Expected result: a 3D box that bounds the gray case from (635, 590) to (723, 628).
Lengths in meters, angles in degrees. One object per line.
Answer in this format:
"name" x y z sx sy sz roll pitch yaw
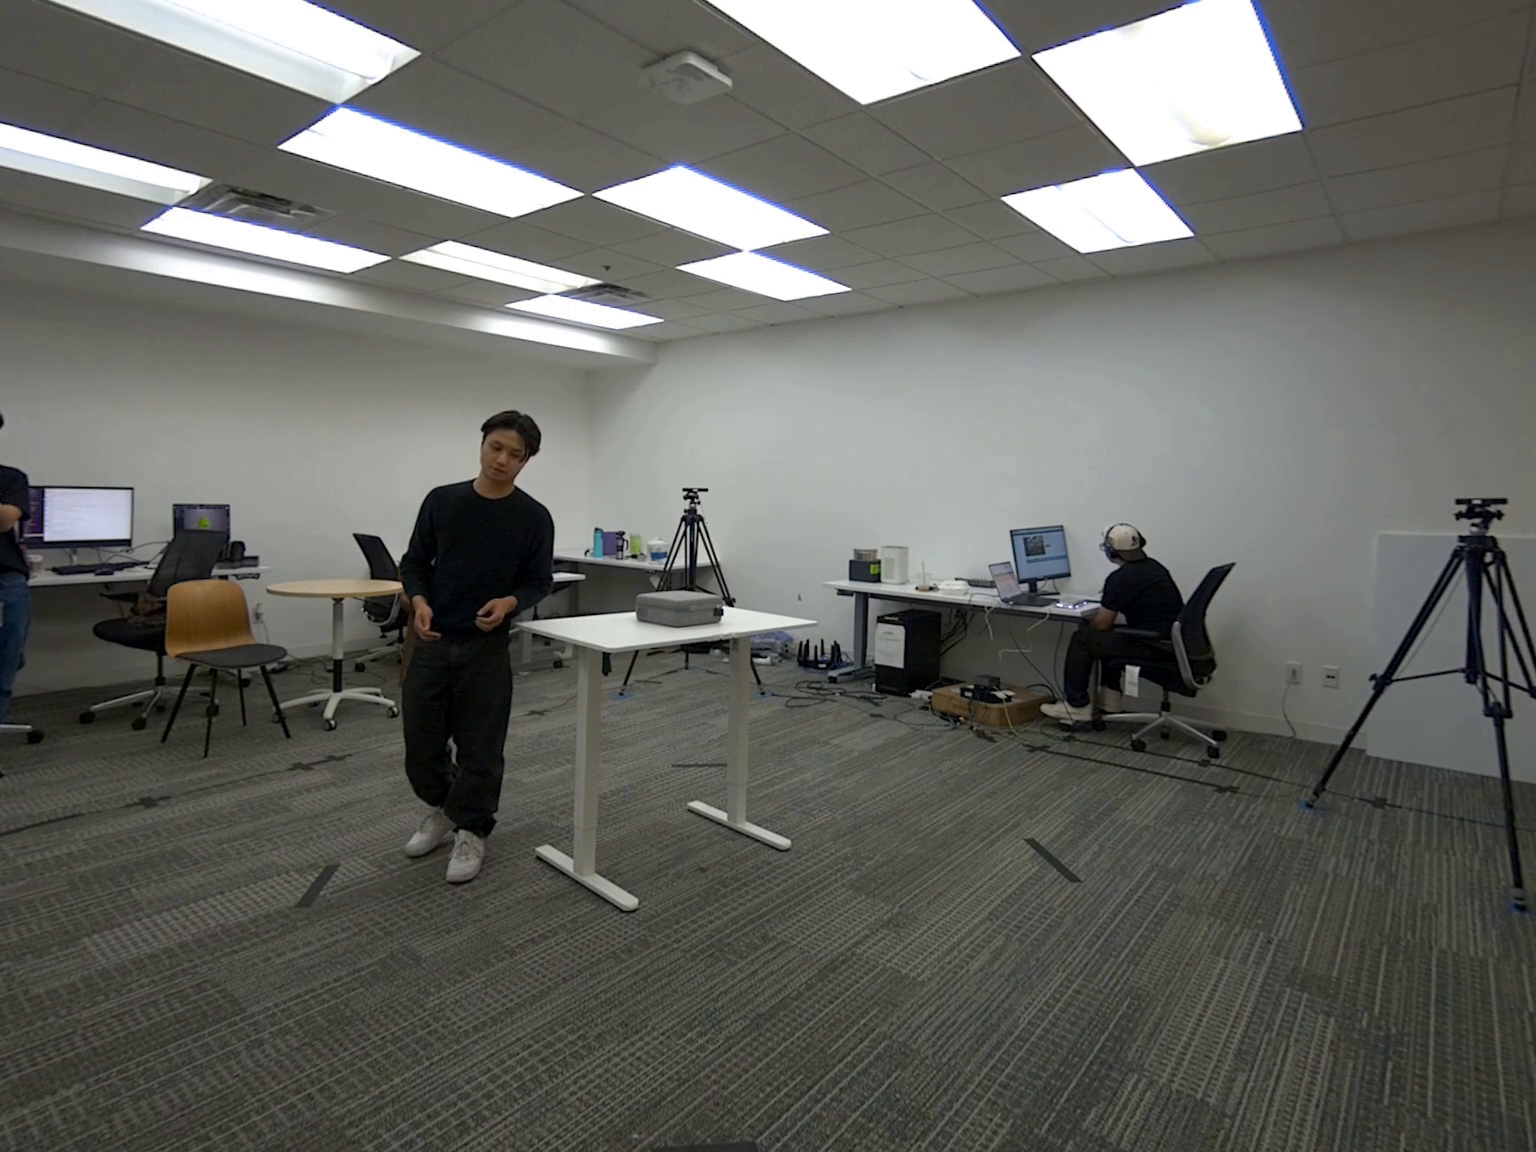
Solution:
"gray case" -0.352 0.120 3.236 0.269 0.104 0.249 6 8 42
